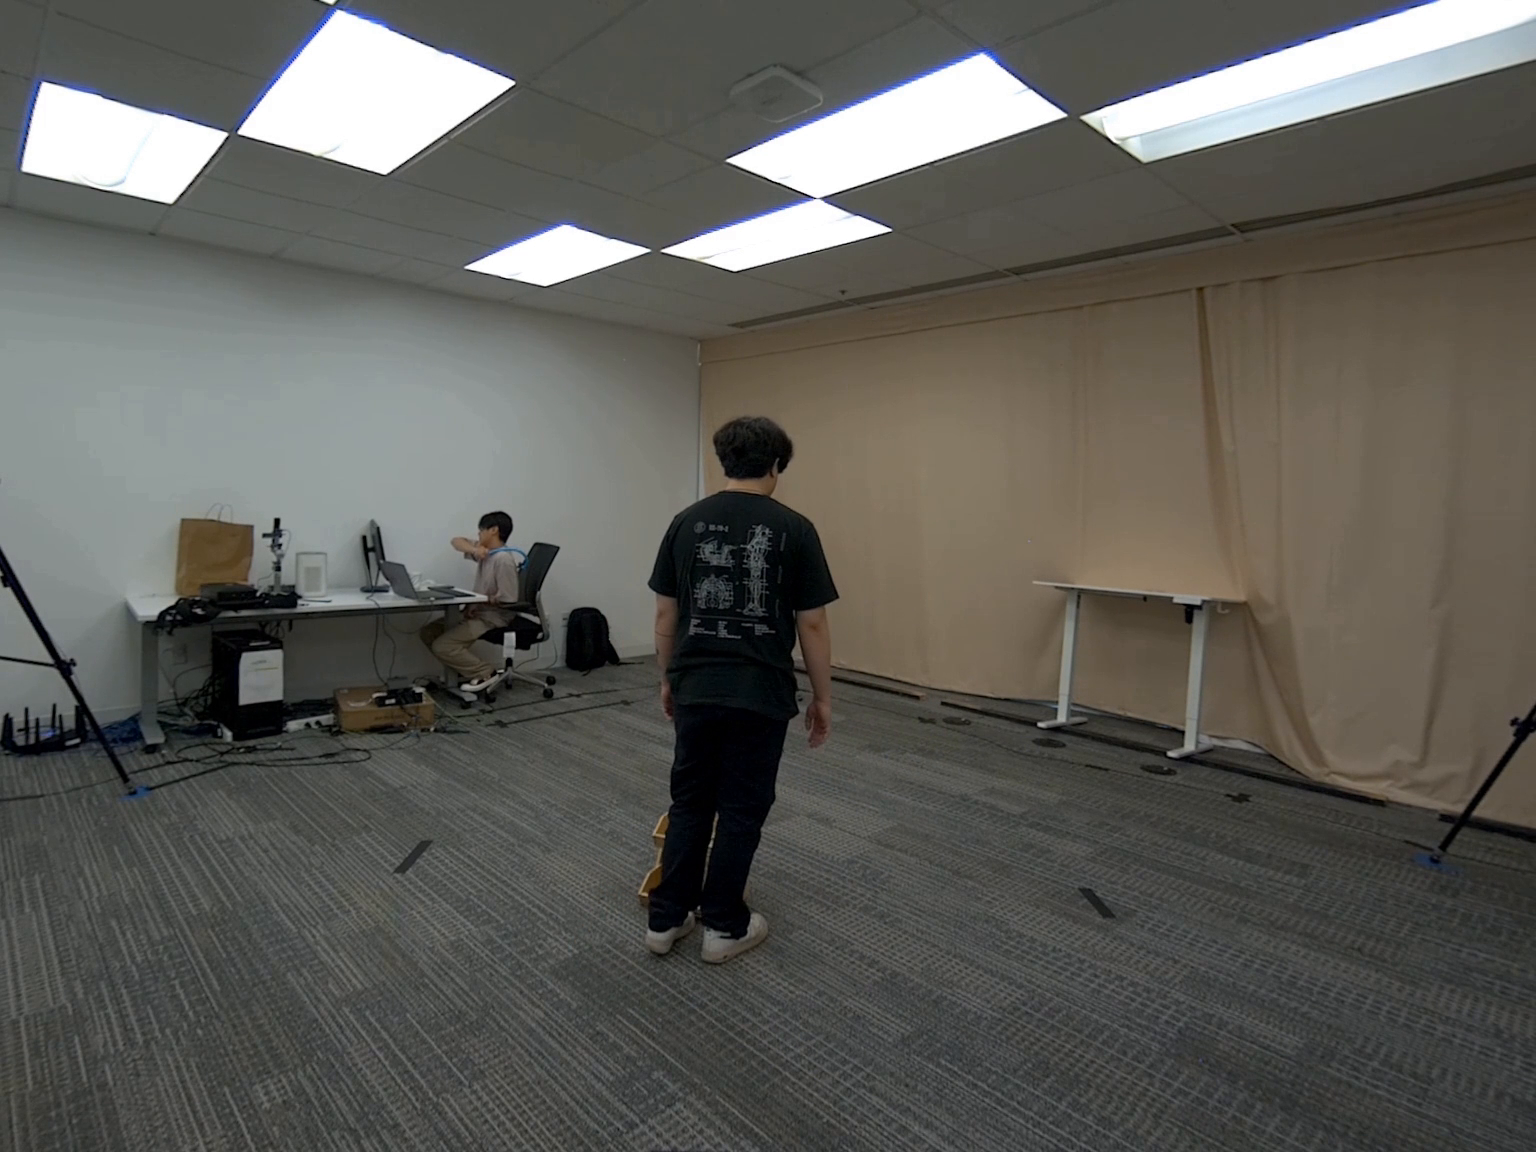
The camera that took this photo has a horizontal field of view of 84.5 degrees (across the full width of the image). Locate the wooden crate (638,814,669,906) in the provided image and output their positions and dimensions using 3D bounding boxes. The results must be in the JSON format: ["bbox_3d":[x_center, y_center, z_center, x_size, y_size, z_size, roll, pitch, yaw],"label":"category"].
[{"bbox_3d":[-0.248,0.997,2.919,0.330,0.273,0.297,3,4,22],"label":"wooden crate"}]
